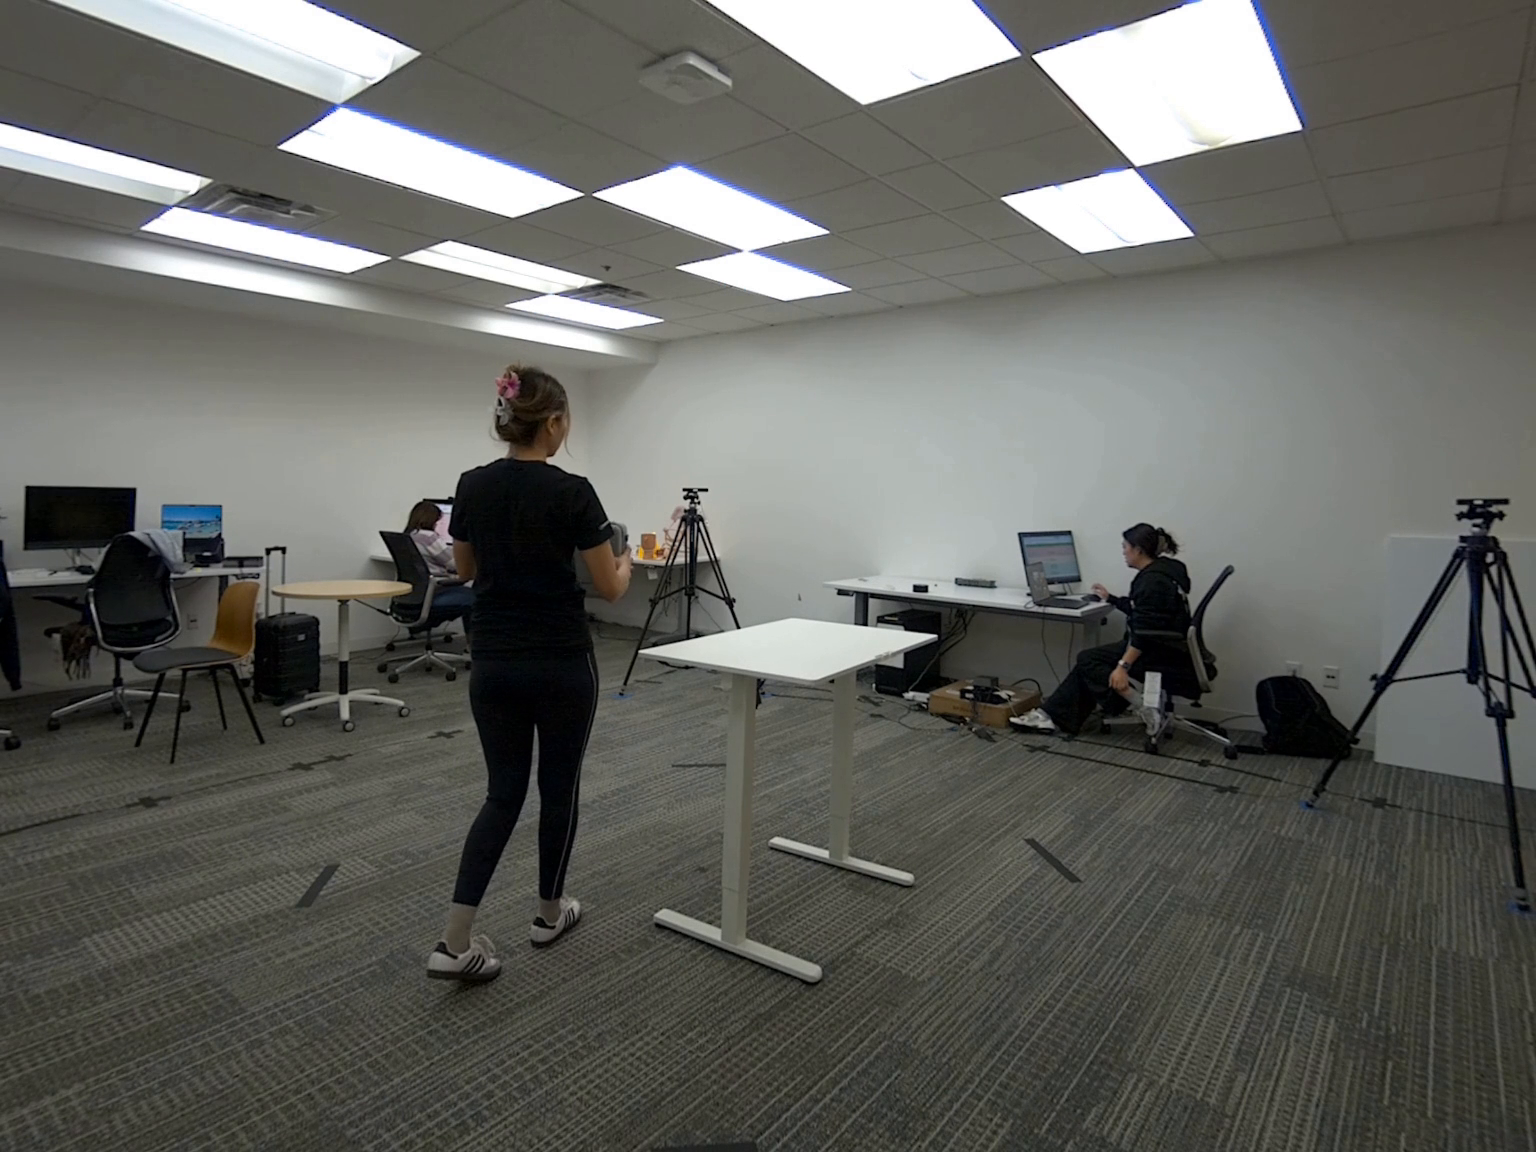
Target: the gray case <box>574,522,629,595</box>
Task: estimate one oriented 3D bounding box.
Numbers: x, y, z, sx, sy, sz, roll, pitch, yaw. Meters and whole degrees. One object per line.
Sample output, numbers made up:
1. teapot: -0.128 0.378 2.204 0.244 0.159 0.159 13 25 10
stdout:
1. gray case: -0.619 -0.063 2.851 0.261 0.259 0.103 4 7 13
